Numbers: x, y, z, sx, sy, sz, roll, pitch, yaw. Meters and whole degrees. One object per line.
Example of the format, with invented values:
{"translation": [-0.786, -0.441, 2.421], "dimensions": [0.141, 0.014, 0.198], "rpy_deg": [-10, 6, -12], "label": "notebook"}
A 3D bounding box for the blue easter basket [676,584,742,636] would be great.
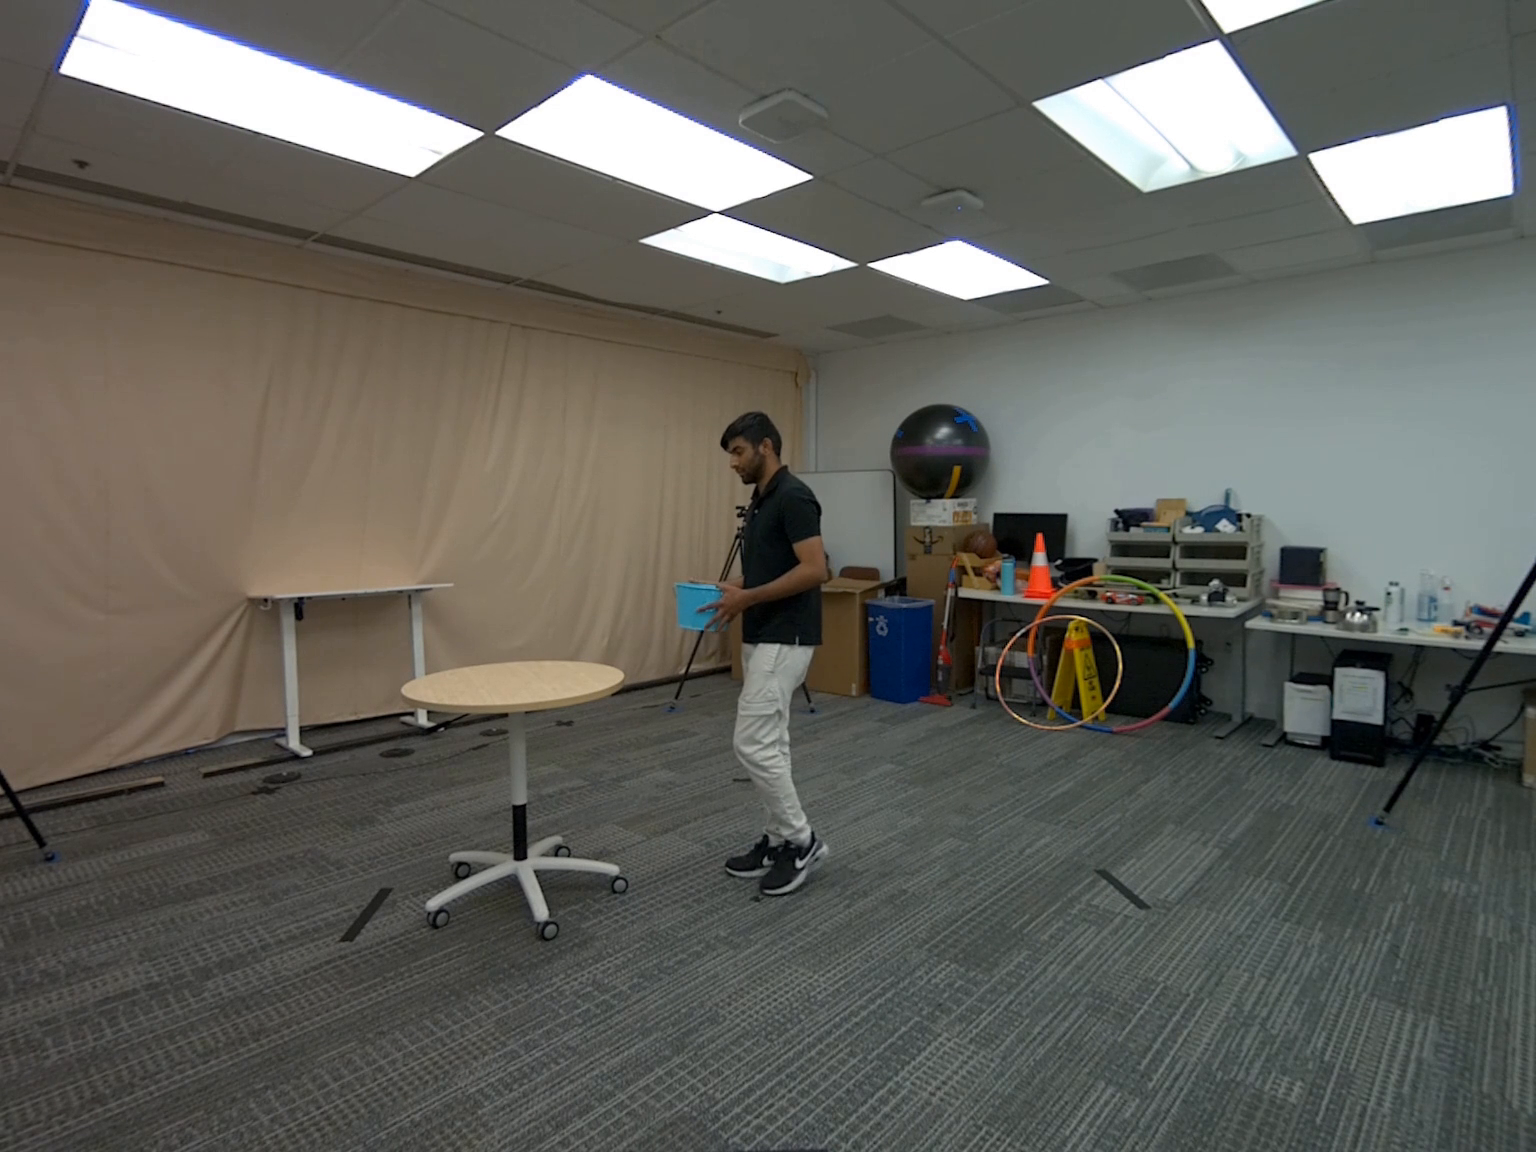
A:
{"translation": [-0.204, 0.117, 3.068], "dimensions": [0.243, 0.156, 0.244], "rpy_deg": [3, 1, -2], "label": "blue easter basket"}
